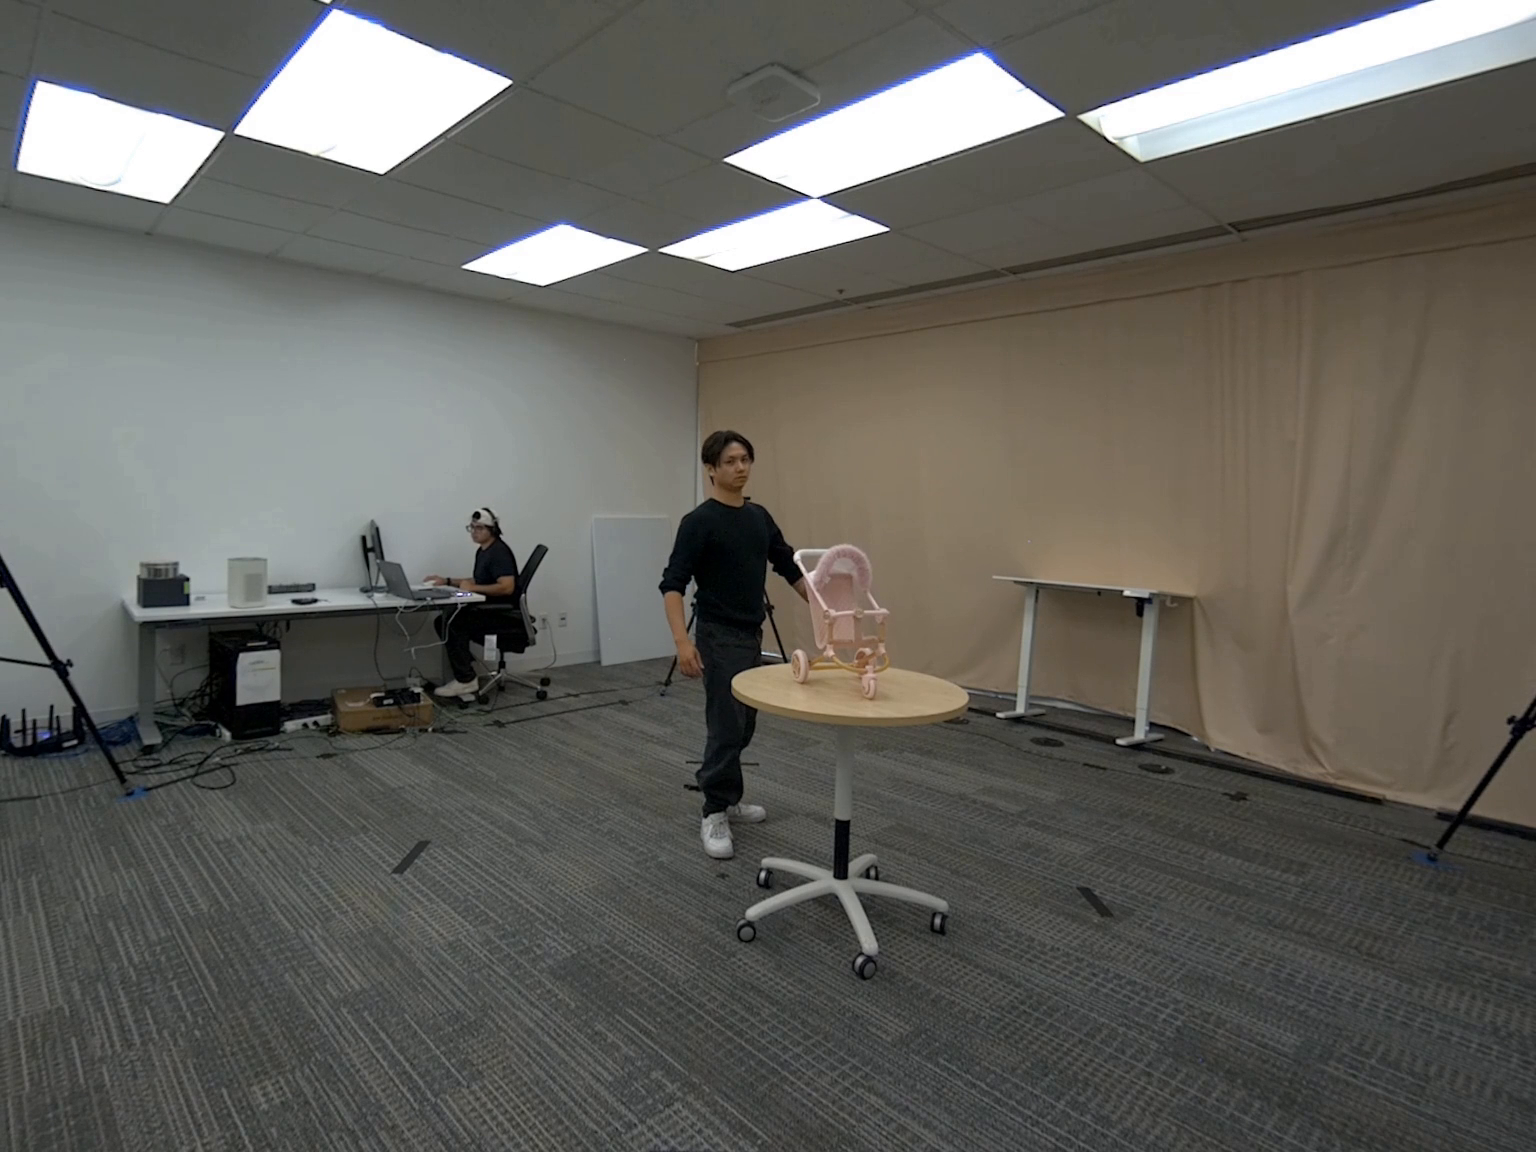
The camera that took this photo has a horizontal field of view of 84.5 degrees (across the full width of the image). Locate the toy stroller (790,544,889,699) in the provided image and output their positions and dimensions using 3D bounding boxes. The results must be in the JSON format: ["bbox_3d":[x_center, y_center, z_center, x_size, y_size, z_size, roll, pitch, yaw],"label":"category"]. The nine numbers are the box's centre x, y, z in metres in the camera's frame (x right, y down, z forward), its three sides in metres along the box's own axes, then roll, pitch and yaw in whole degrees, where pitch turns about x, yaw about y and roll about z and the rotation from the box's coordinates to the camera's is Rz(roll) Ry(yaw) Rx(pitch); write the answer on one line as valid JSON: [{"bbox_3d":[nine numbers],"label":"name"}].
[{"bbox_3d":[0.243,0.138,2.765,0.277,0.540,0.343,1,-12,-18],"label":"toy stroller"}]
